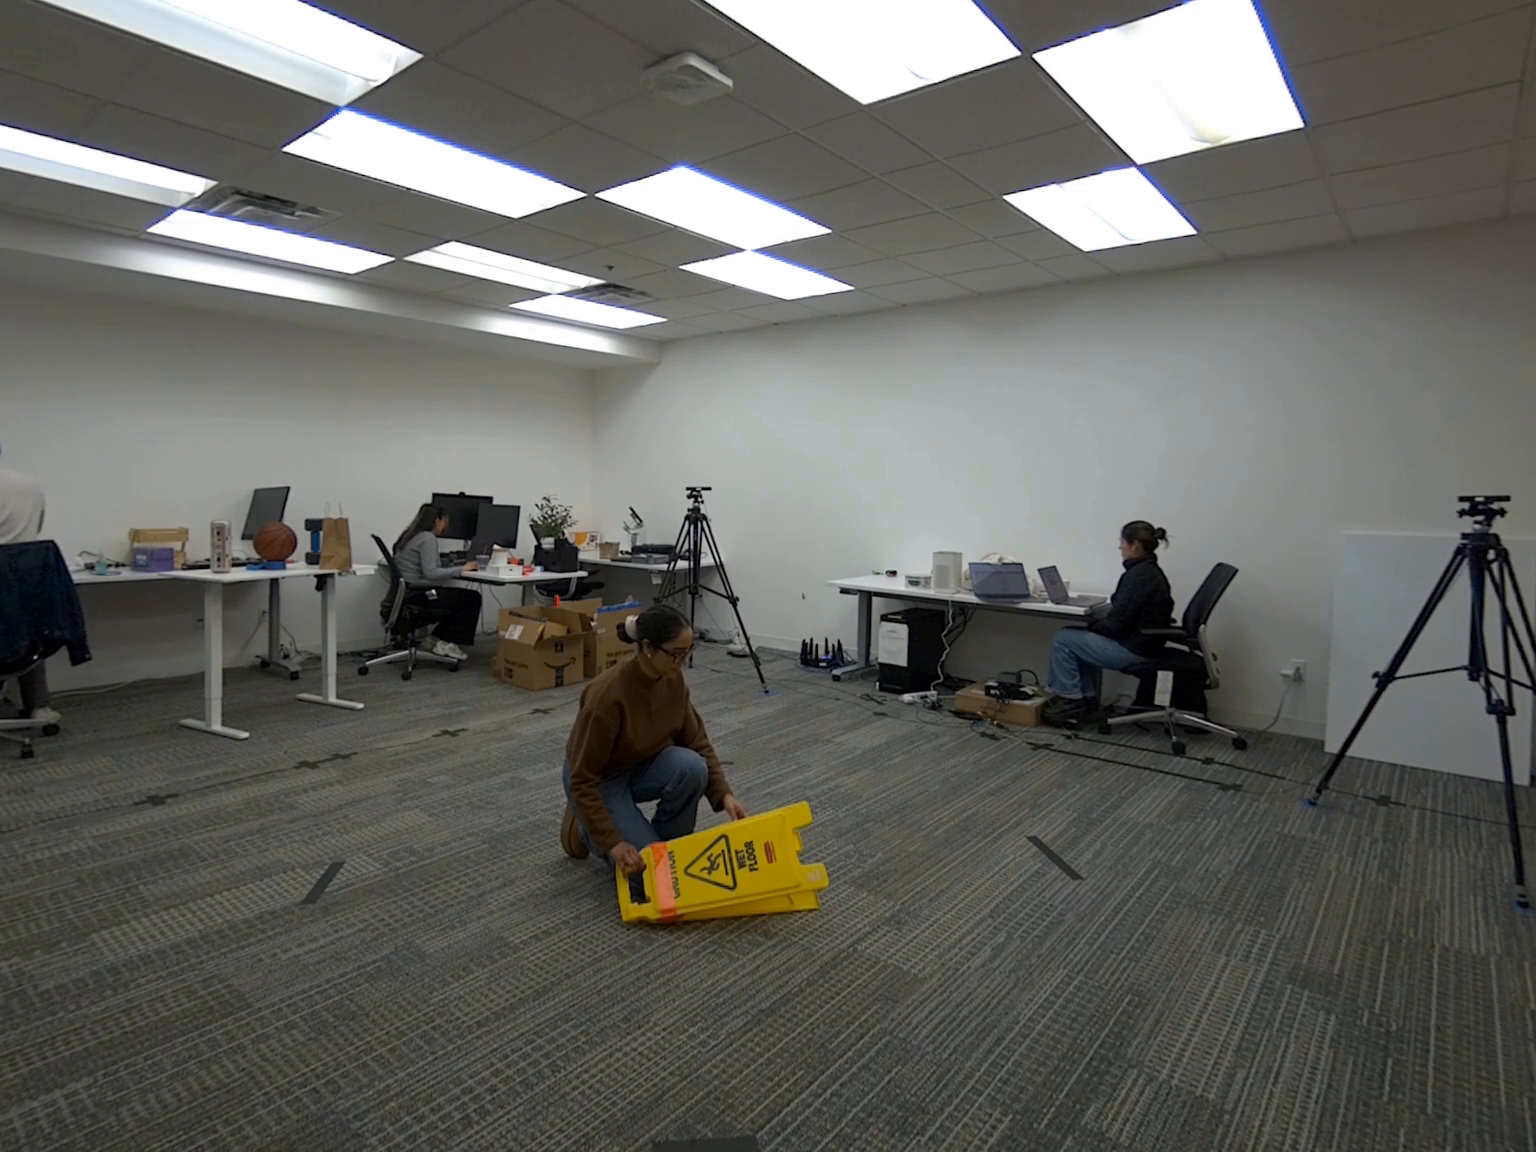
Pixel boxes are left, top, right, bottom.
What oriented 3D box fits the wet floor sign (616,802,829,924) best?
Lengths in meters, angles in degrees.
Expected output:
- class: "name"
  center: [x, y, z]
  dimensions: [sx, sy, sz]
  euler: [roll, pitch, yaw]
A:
- class: "wet floor sign"
  center: [-0.172, 0.968, 2.780]
  dimensions: [0.641, 0.292, 0.282]
  euler: [-7, -40, -8]
